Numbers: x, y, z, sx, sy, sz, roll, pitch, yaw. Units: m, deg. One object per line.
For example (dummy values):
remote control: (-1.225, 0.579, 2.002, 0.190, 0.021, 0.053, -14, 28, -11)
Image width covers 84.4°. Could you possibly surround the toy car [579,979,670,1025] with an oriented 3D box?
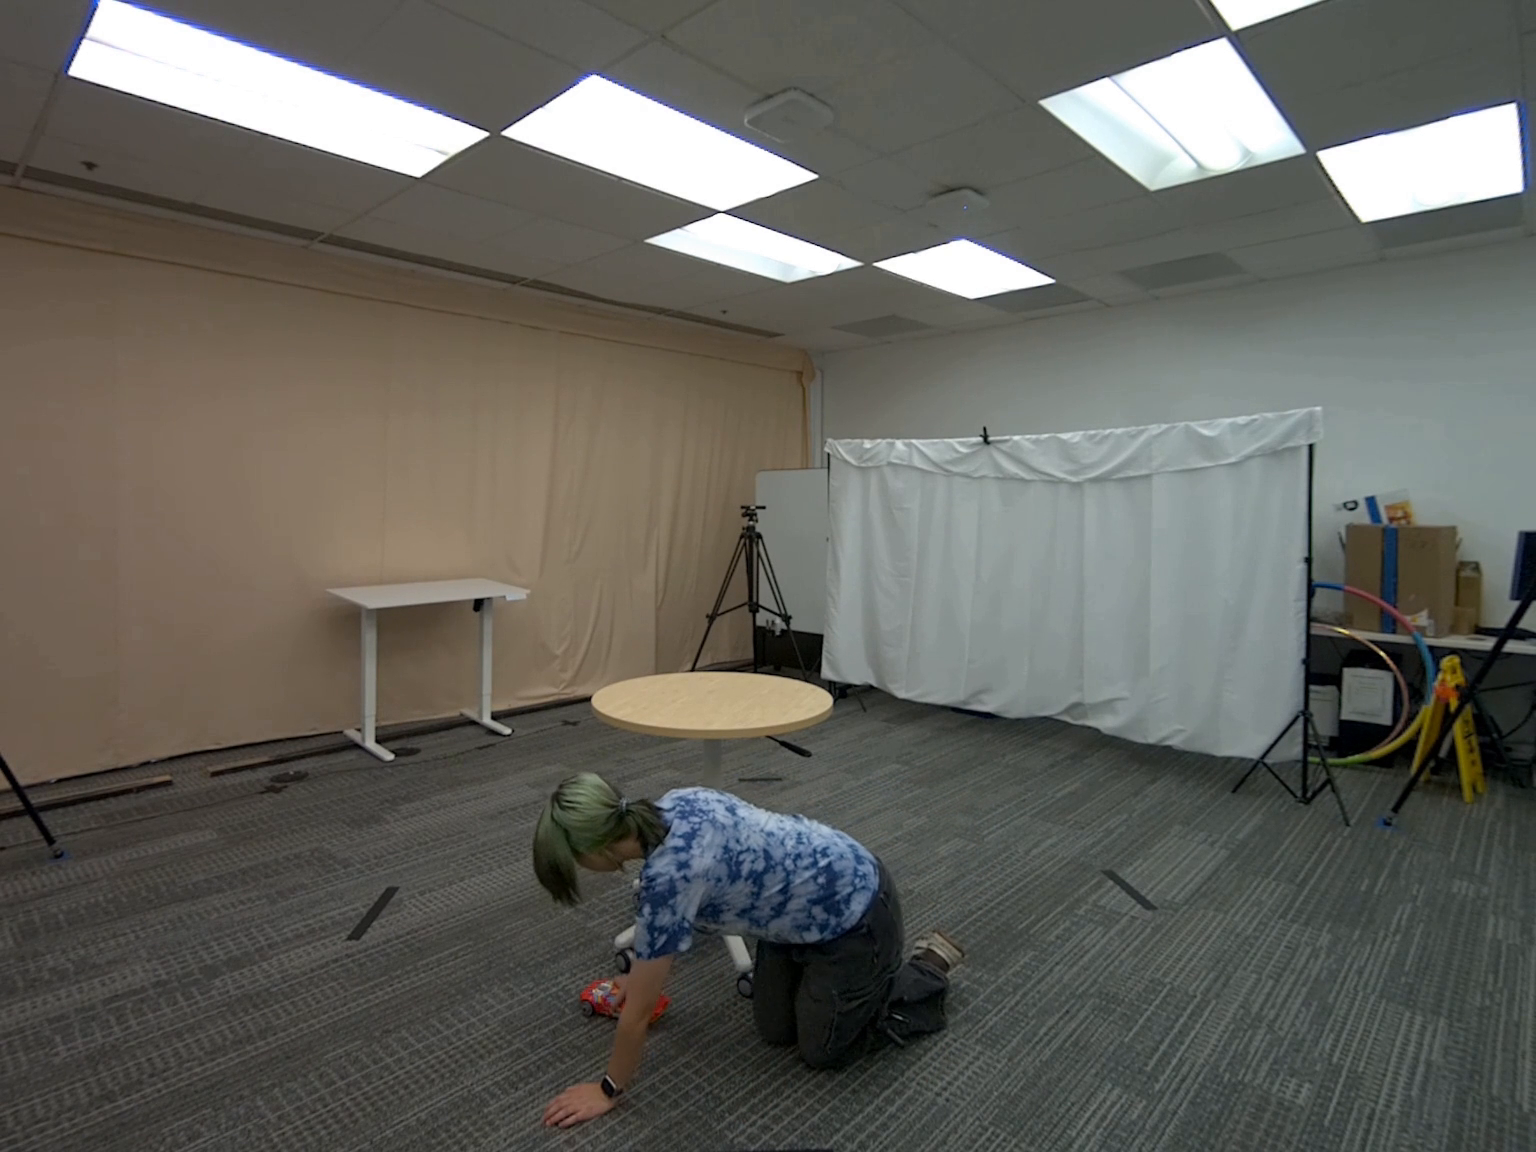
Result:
toy car: (-0.390, 1.177, 2.306, 0.260, 0.083, 0.128, -10, 1, 22)
